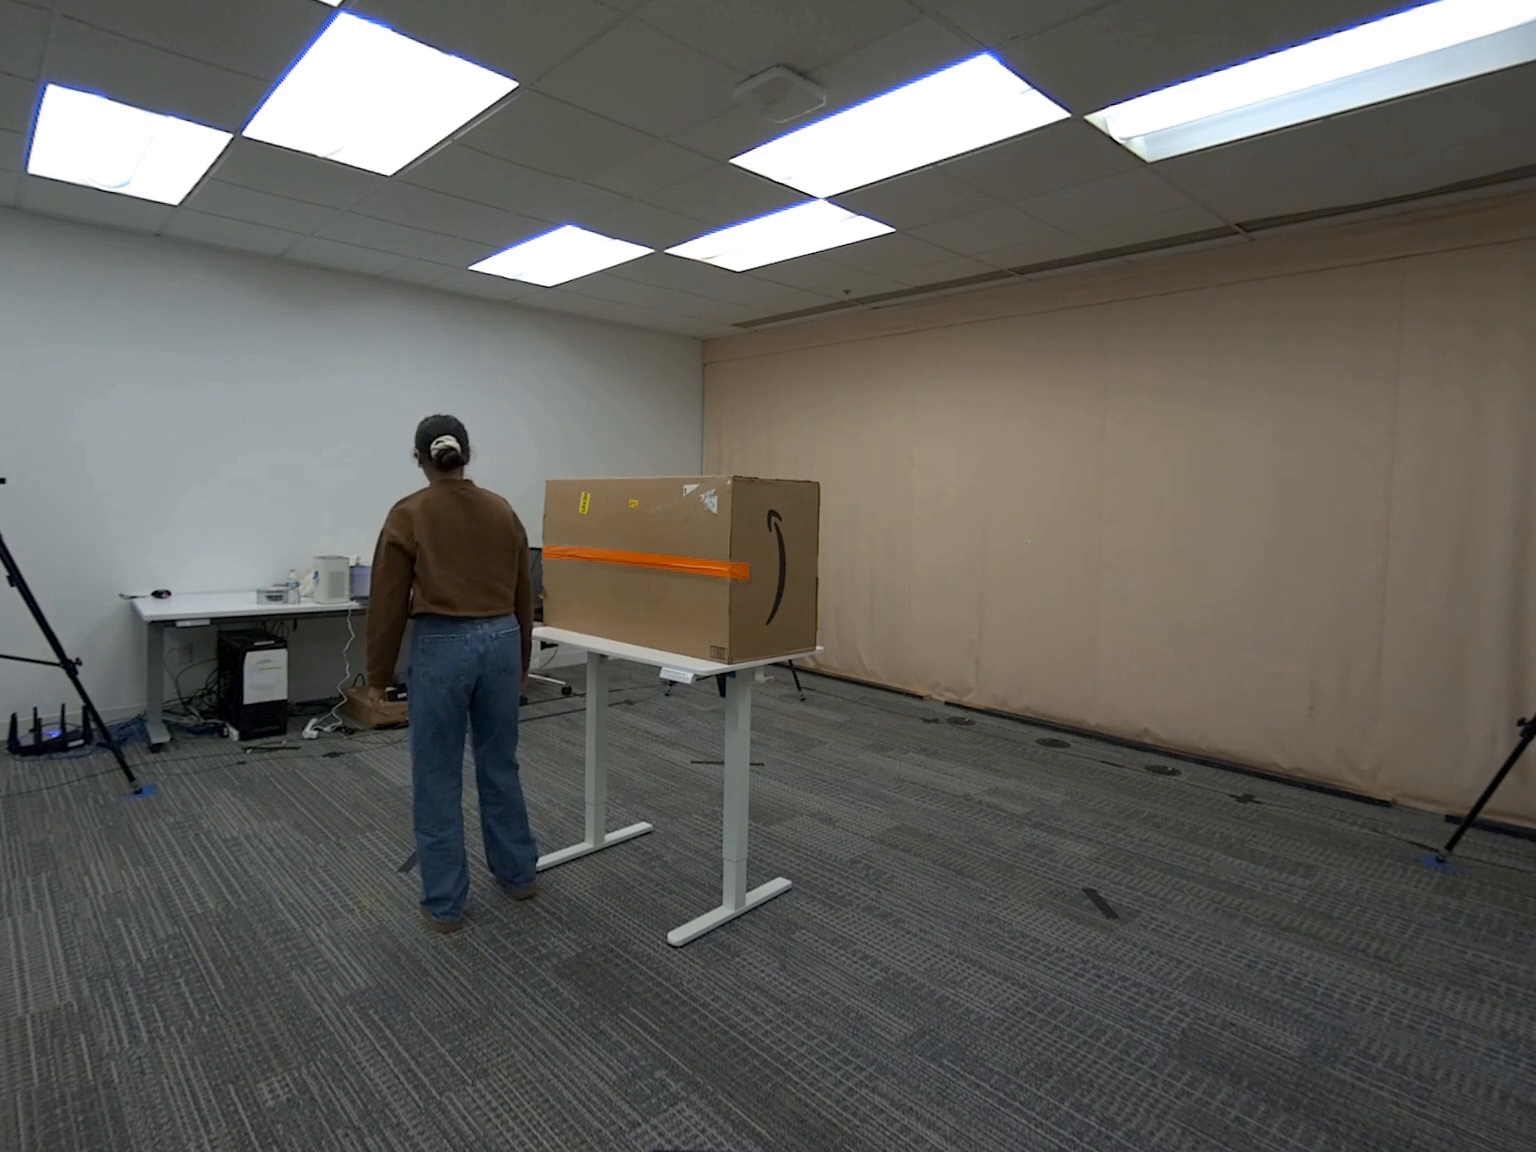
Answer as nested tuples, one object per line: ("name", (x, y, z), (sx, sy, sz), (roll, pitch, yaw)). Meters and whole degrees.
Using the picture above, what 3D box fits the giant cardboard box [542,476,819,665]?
("giant cardboard box", (-0.356, -0.057, 3.055), (1.052, 0.576, 0.416), (5, 4, 43))
